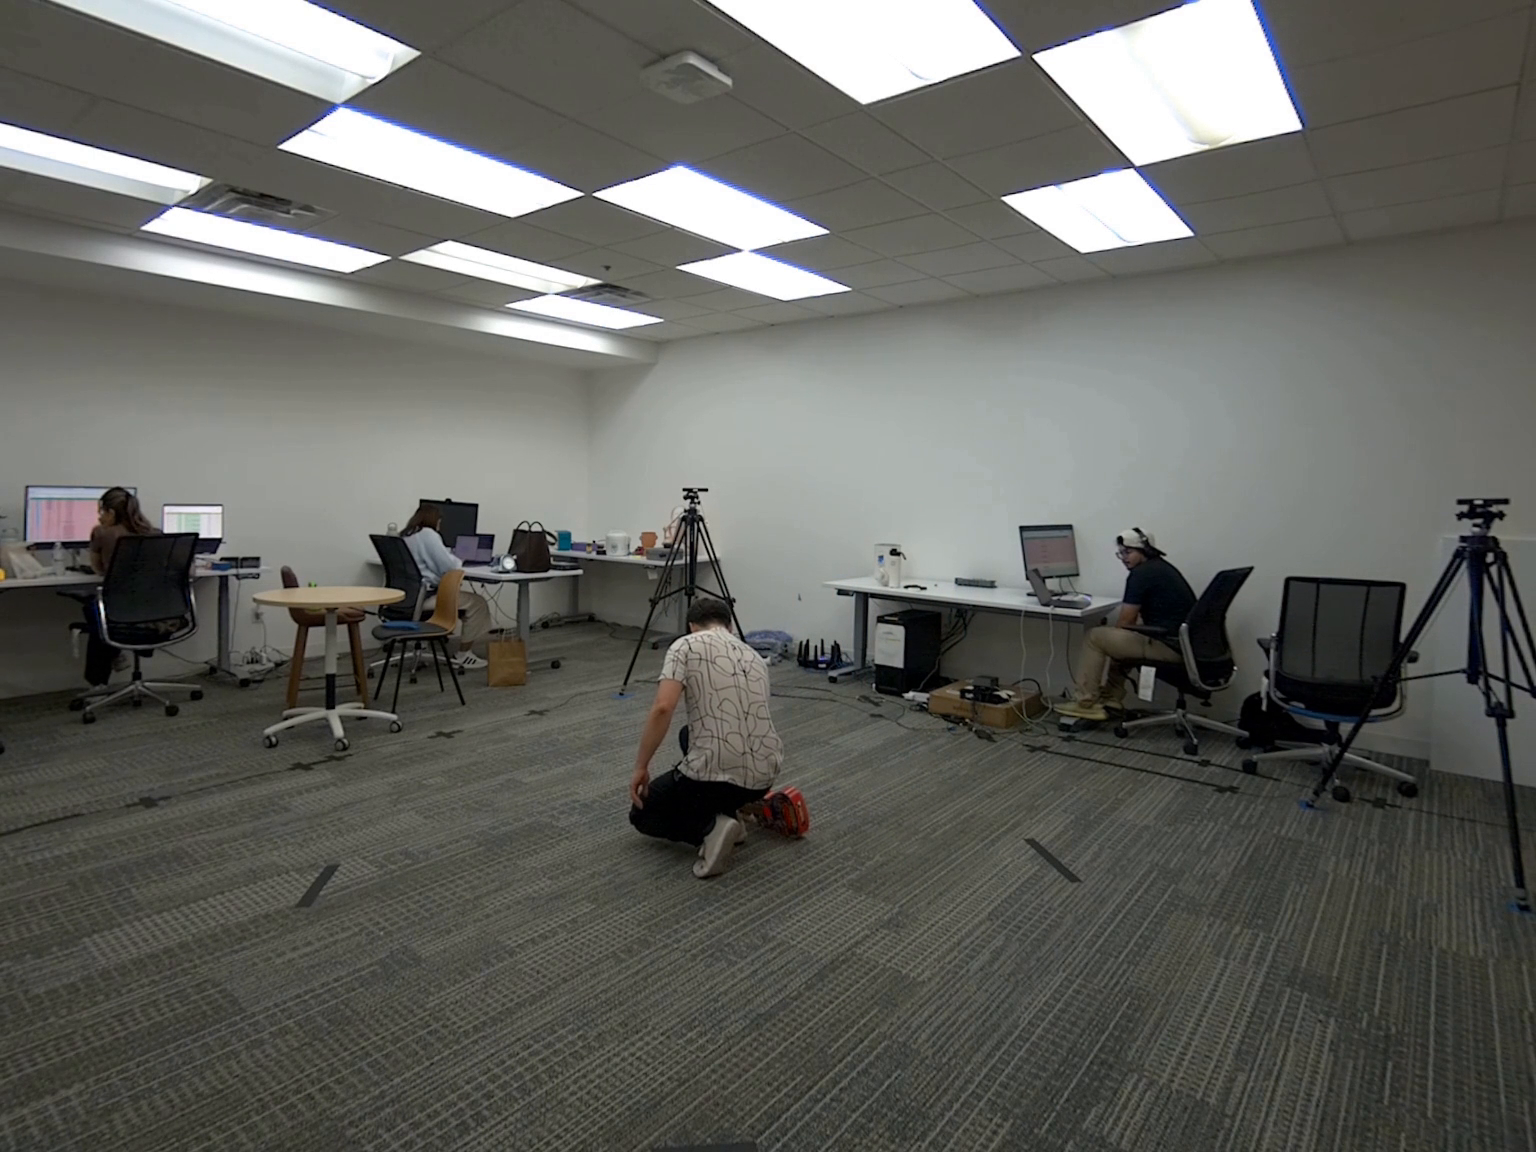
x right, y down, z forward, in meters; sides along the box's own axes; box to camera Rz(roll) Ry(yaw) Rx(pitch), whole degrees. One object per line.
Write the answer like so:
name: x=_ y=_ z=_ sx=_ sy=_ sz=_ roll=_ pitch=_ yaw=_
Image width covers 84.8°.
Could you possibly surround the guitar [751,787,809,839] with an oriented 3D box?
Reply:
guitar: x=-0.043 y=0.937 z=3.549 sx=0.069 sy=0.191 sz=0.515 roll=-15 pitch=14 yaw=-41
